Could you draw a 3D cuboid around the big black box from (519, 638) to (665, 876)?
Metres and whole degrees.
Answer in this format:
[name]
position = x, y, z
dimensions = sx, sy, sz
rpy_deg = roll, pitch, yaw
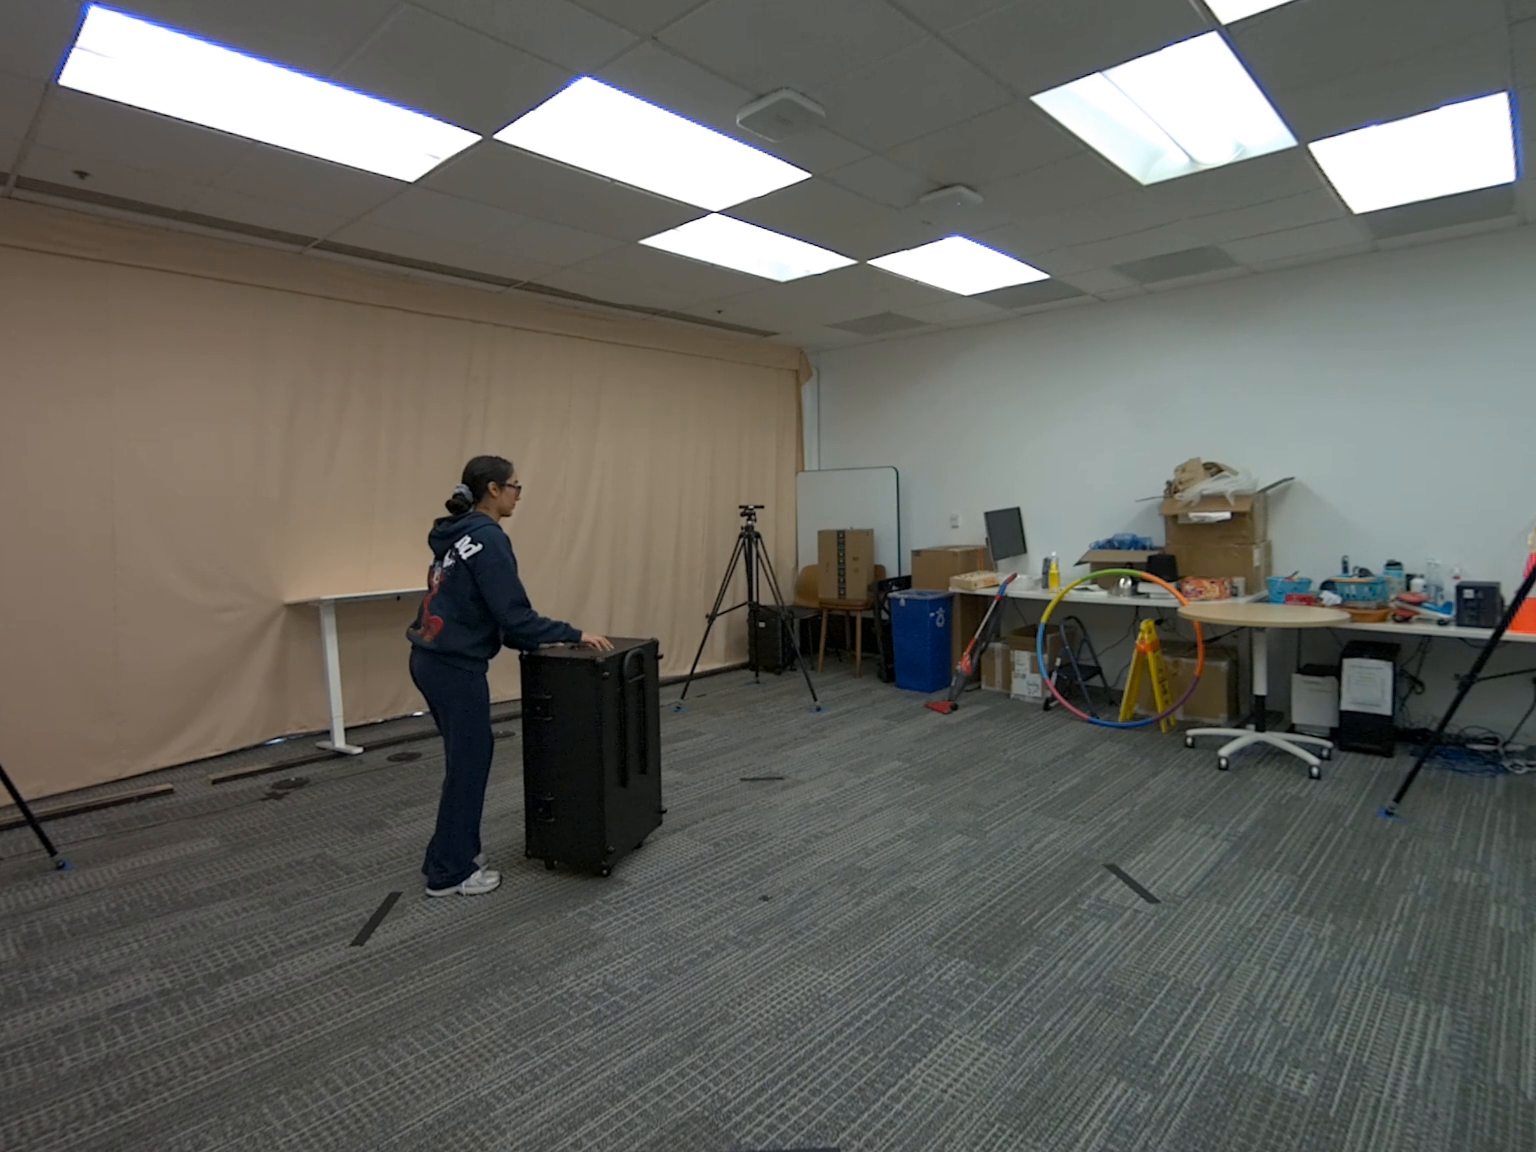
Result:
[big black box]
position = -0.675, 0.703, 3.362
dimensions = 0.405, 0.859, 0.511
rpy_deg = 2, 4, 20
